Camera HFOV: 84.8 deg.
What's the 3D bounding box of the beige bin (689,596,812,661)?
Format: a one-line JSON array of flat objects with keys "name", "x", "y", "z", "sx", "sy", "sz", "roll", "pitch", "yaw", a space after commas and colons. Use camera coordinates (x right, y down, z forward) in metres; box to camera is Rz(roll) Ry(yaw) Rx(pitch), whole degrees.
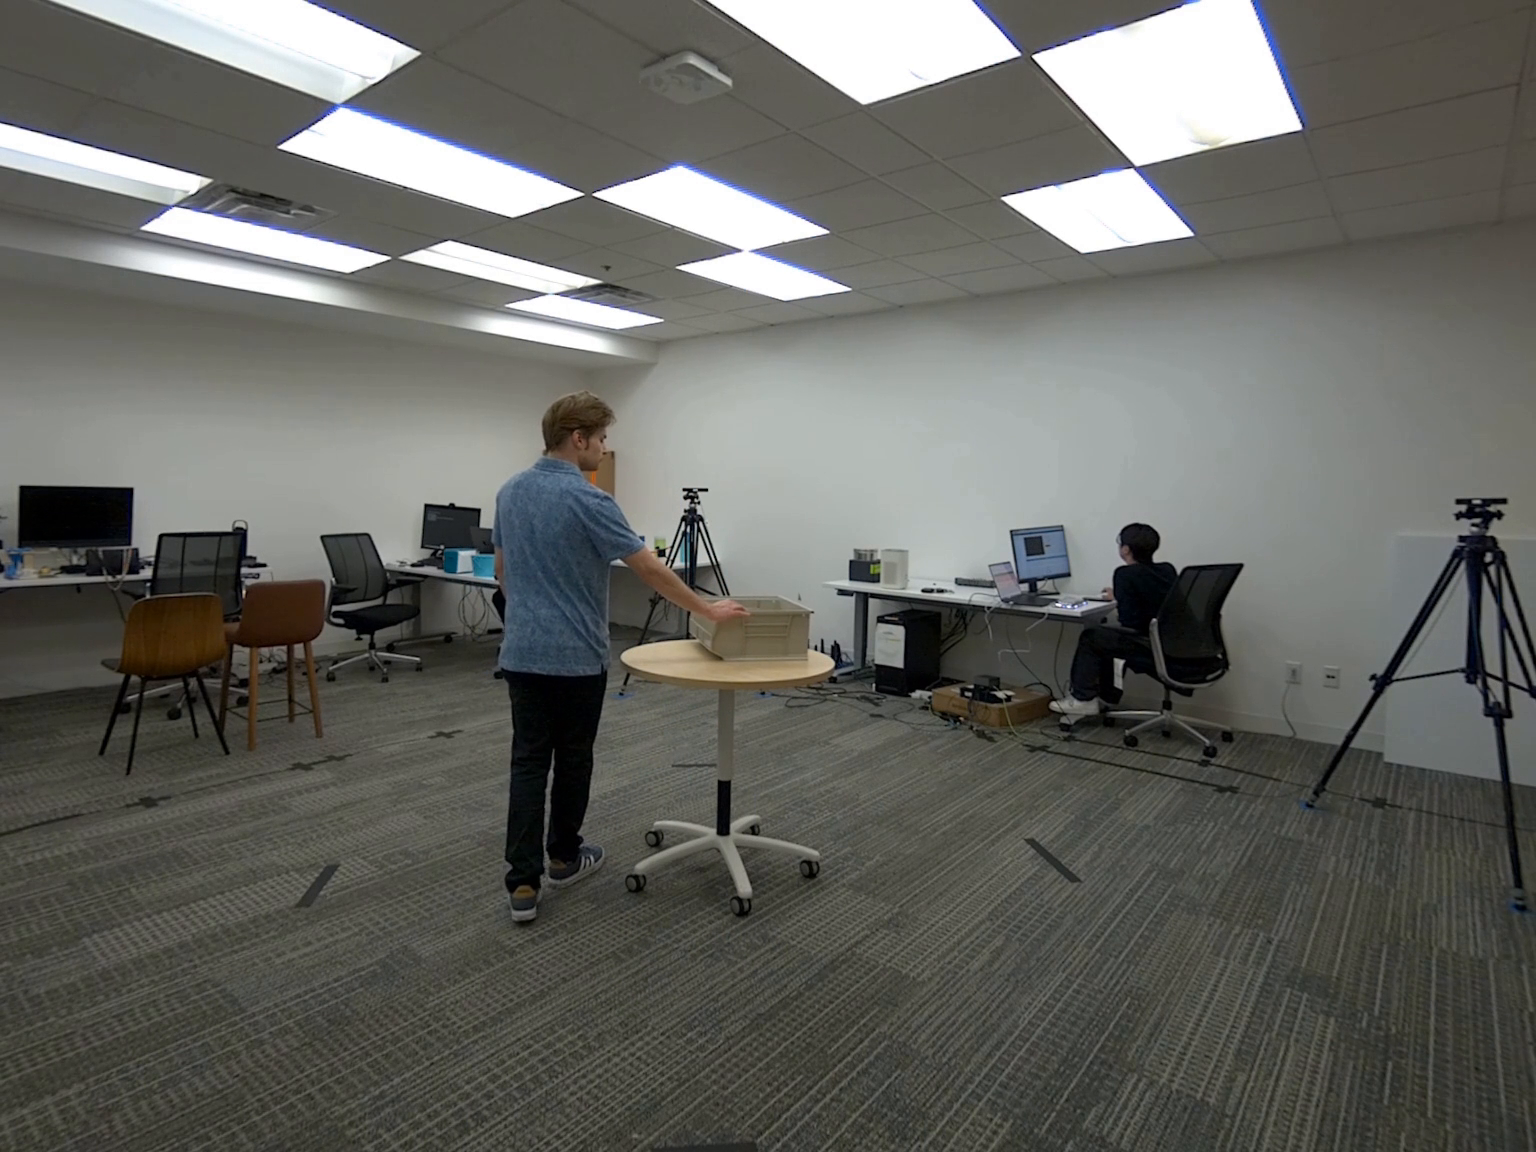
[{"name": "beige bin", "x": -0.092, "y": 0.185, "z": 3.210, "sx": 0.372, "sy": 0.188, "sz": 0.430, "roll": 2, "pitch": 5, "yaw": -15}]
